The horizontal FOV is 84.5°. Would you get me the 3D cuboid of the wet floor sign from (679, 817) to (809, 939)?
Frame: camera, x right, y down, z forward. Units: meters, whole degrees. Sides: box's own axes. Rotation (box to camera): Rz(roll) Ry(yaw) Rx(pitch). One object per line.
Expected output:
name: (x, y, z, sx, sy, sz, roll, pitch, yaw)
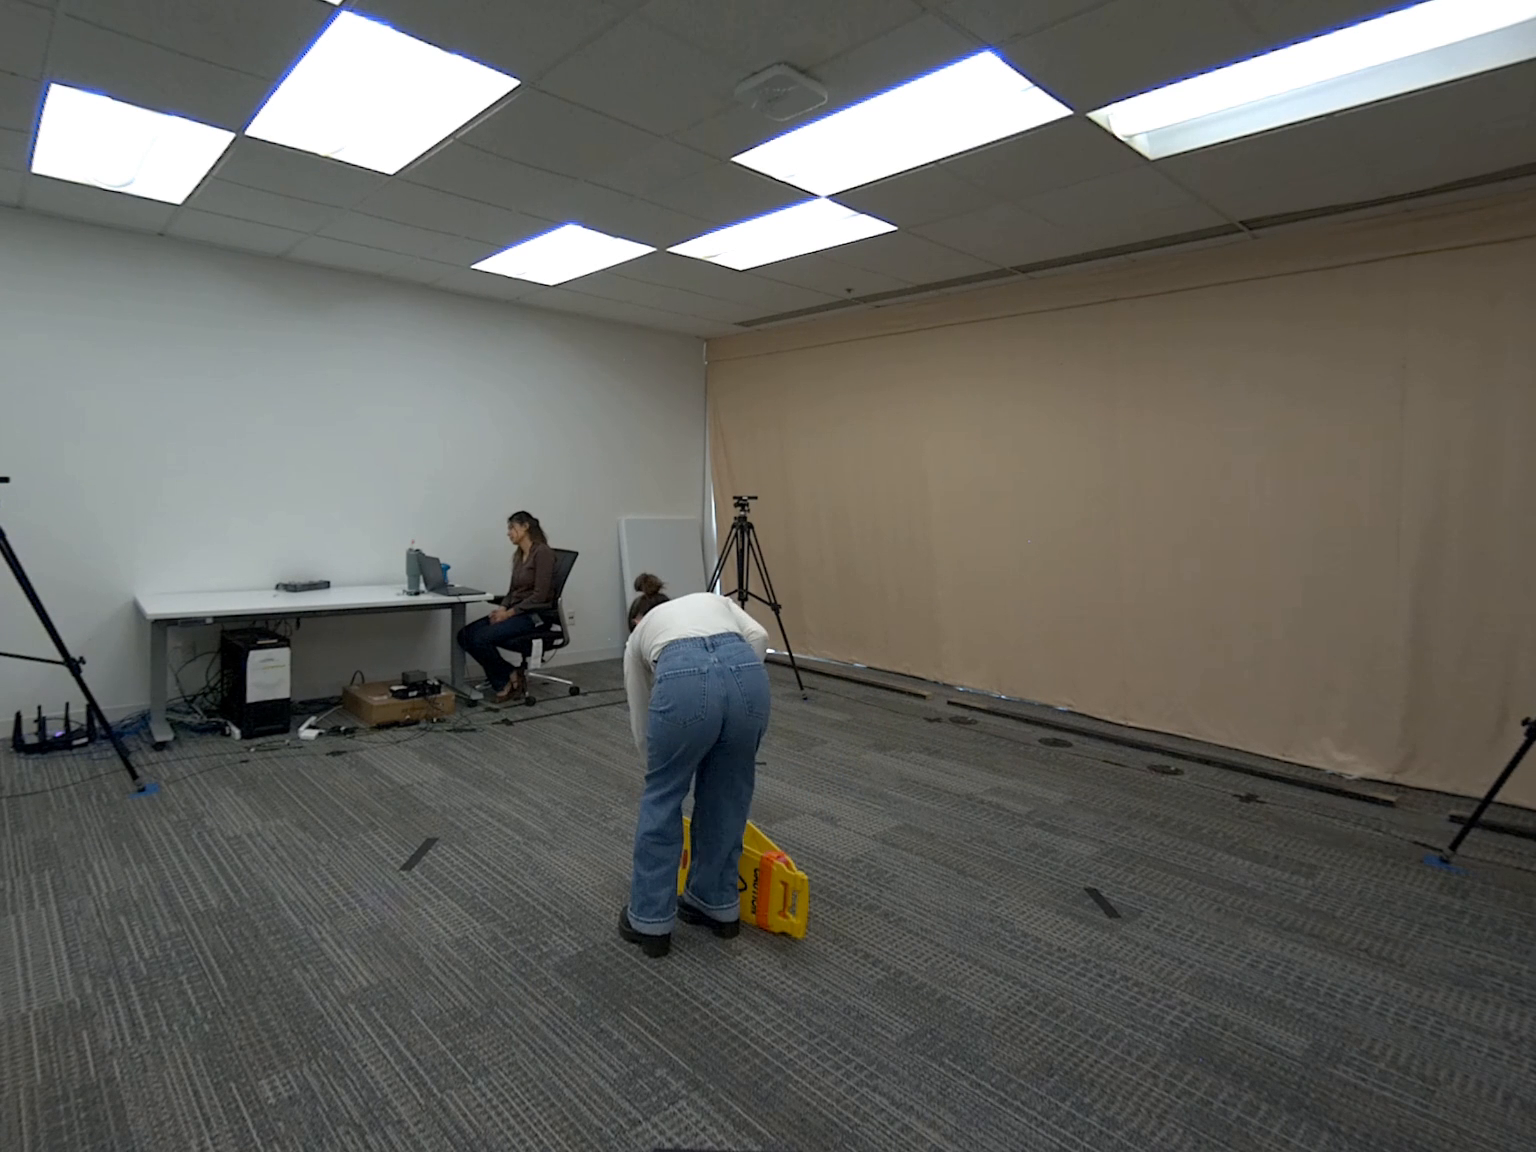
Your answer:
wet floor sign: (-0.104, 0.997, 2.860, 0.283, 0.281, 0.663, -1, 6, -41)
